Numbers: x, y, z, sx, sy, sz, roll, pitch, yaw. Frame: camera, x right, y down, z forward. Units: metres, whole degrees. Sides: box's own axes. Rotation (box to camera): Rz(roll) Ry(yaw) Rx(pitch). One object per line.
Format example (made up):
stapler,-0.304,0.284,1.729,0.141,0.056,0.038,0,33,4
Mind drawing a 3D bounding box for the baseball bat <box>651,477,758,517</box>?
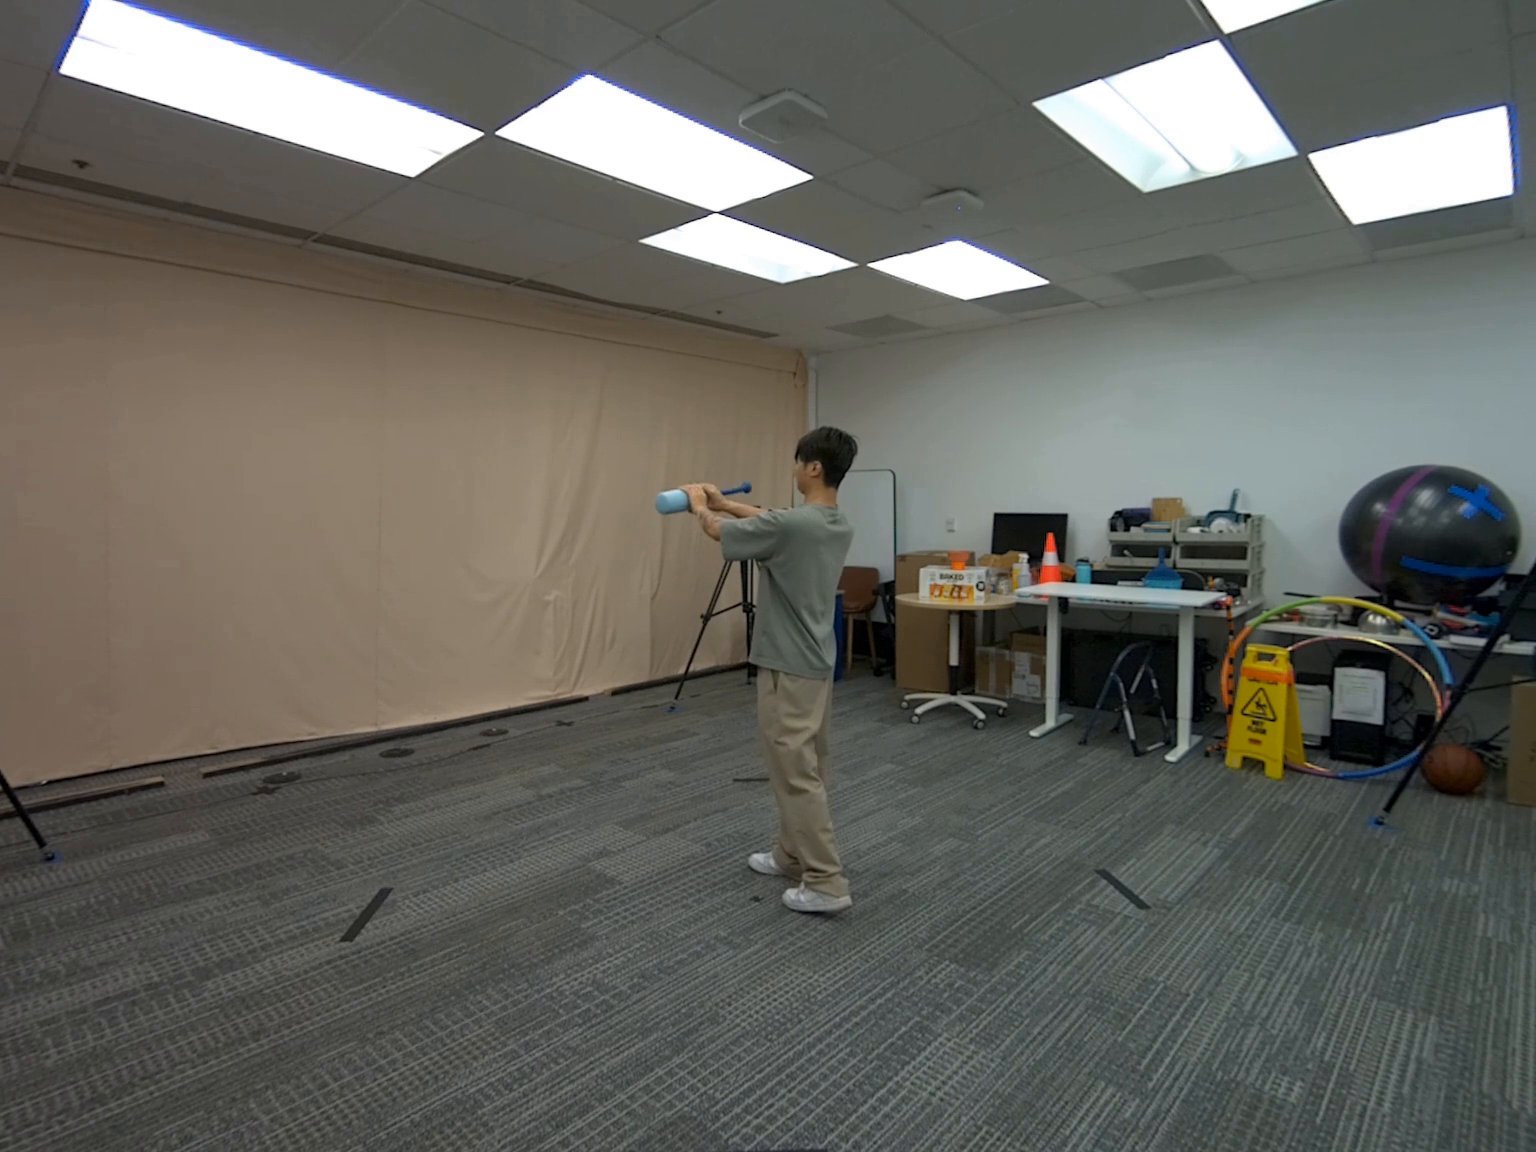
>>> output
baseball bat,-0.246,-0.325,3.409,0.092,0.088,0.529,3,13,38
